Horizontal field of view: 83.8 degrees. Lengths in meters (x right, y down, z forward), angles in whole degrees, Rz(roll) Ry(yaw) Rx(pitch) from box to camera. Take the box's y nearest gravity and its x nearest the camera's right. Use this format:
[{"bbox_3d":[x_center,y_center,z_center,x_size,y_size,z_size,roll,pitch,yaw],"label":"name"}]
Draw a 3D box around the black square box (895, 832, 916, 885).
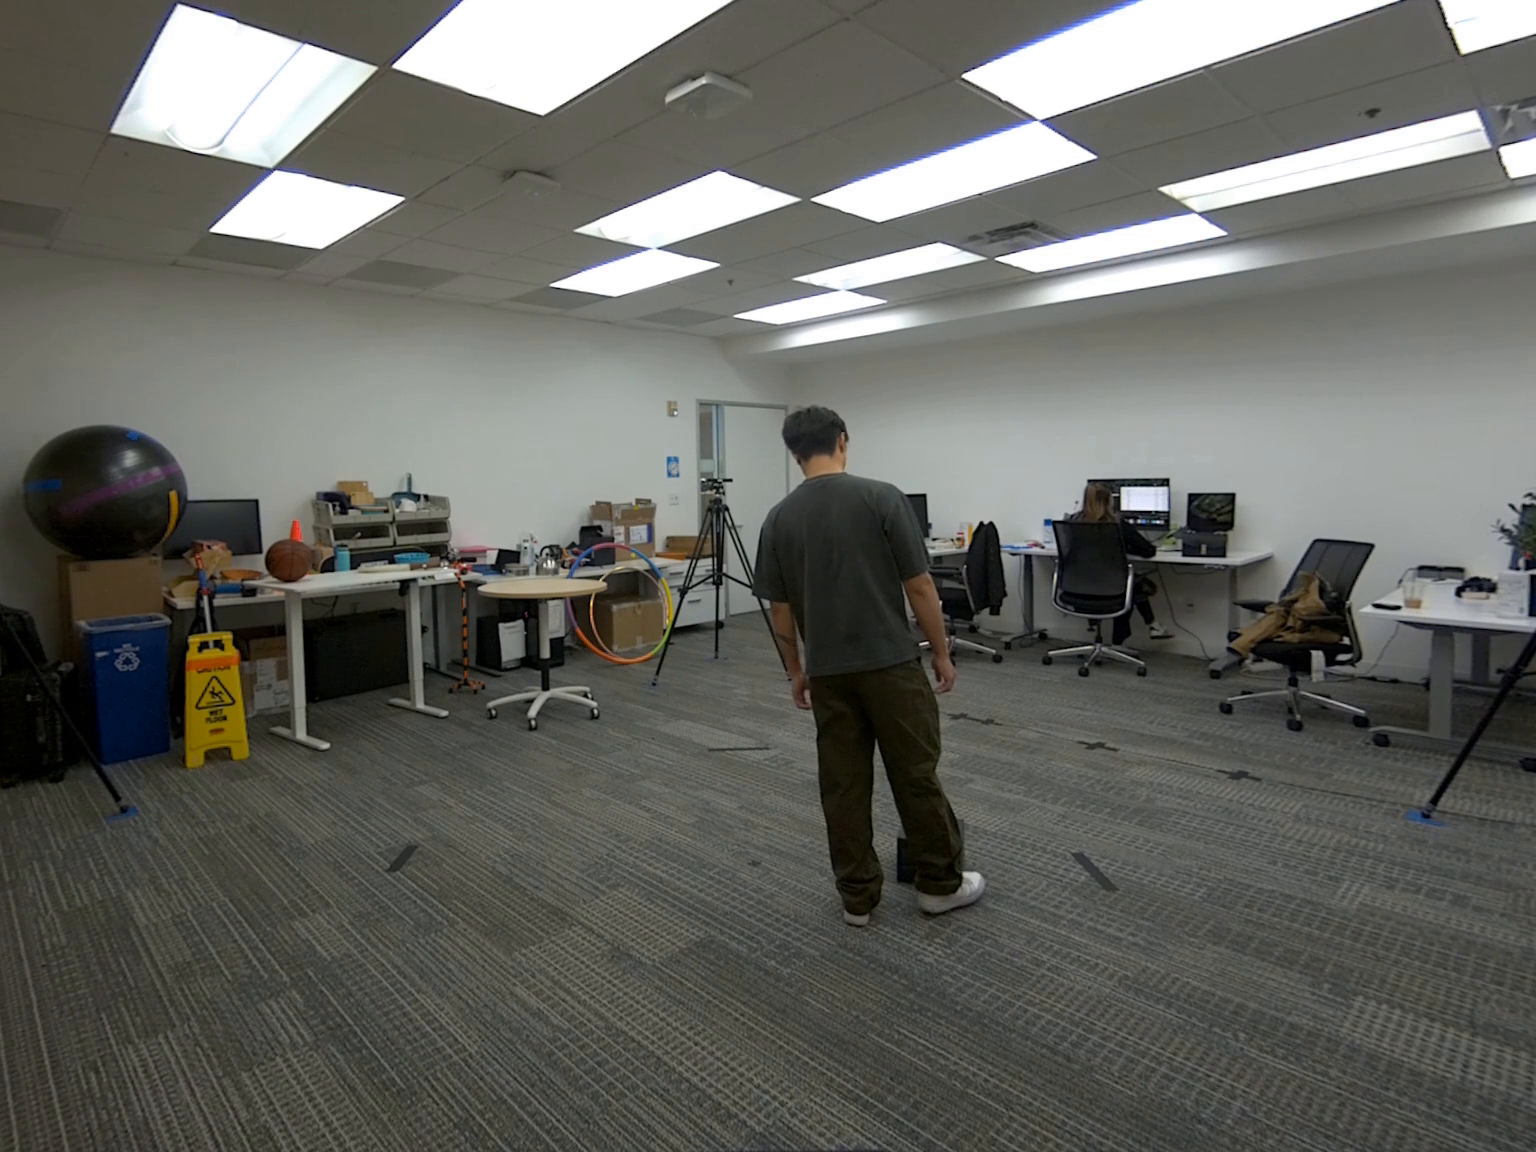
[{"bbox_3d":[0.582,0.963,3.010,0.221,0.155,0.225,0,5,17],"label":"black square box"}]
